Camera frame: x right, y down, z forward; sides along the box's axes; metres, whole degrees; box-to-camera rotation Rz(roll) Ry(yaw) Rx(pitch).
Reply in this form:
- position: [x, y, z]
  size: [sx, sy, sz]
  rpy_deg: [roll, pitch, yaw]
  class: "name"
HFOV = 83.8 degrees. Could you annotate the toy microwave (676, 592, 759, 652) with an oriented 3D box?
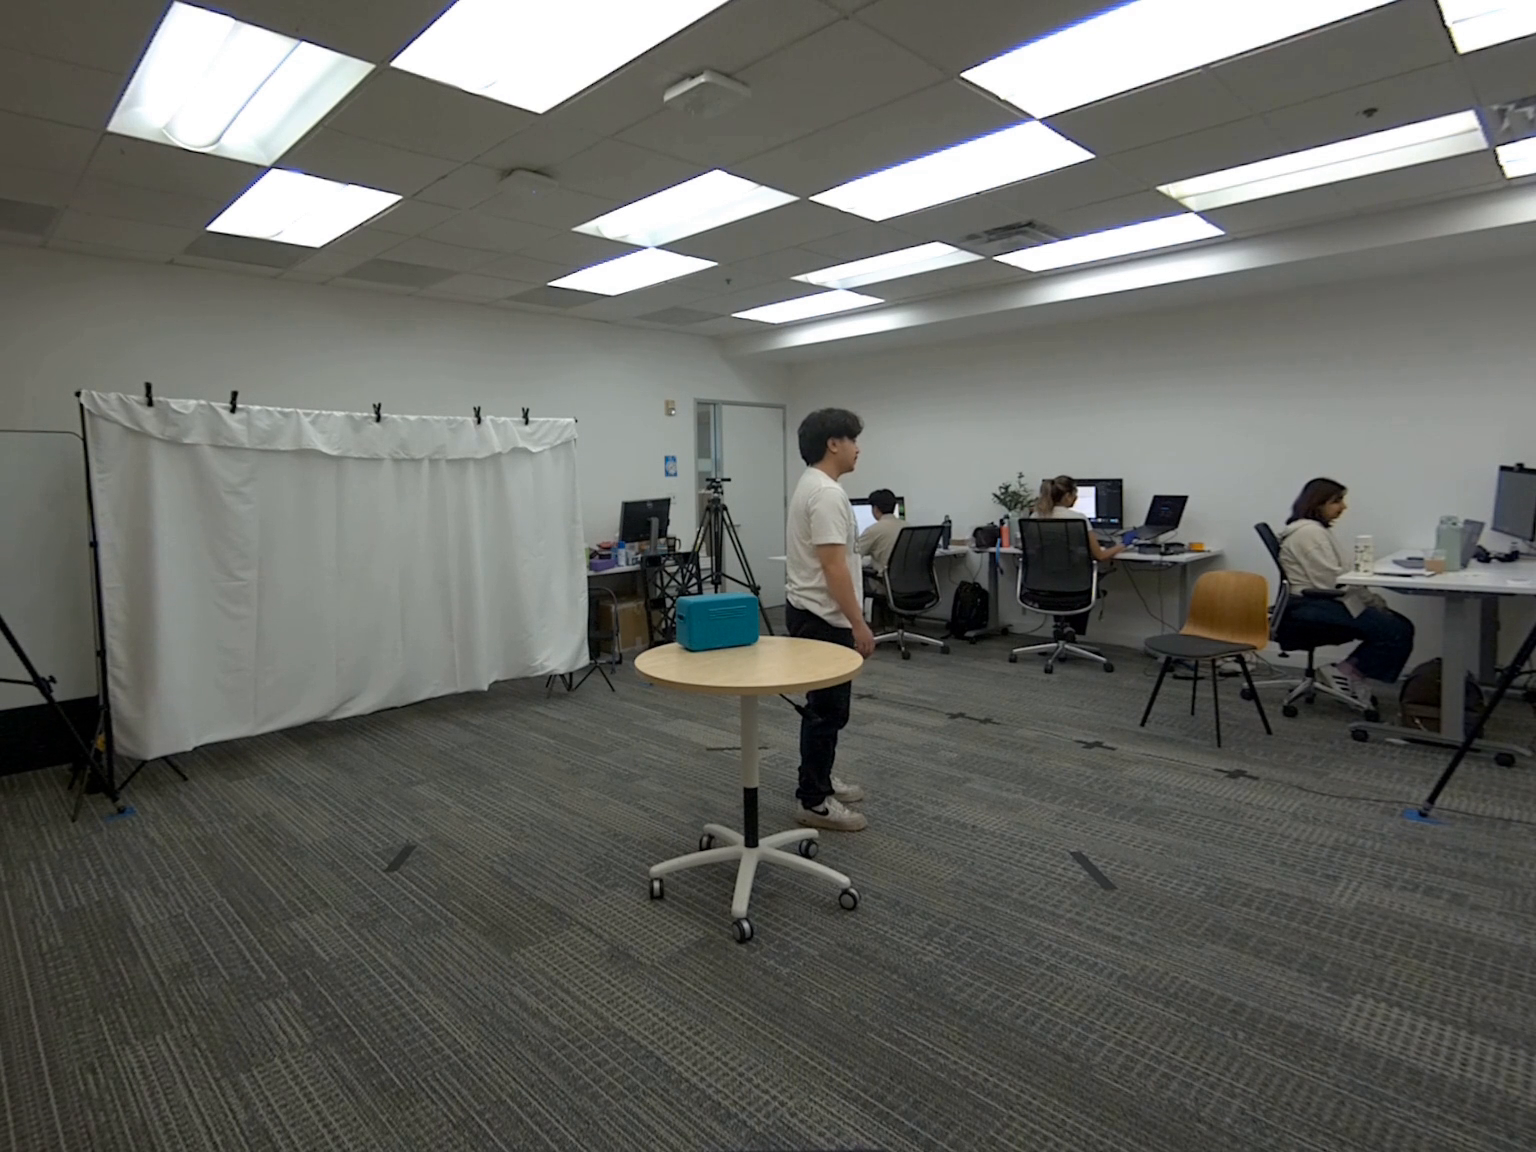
- position: [-0.185, 0.161, 3.094]
  size: [0.280, 0.183, 0.156]
  rpy_deg: [-4, 6, -28]
  class: "toy microwave"
